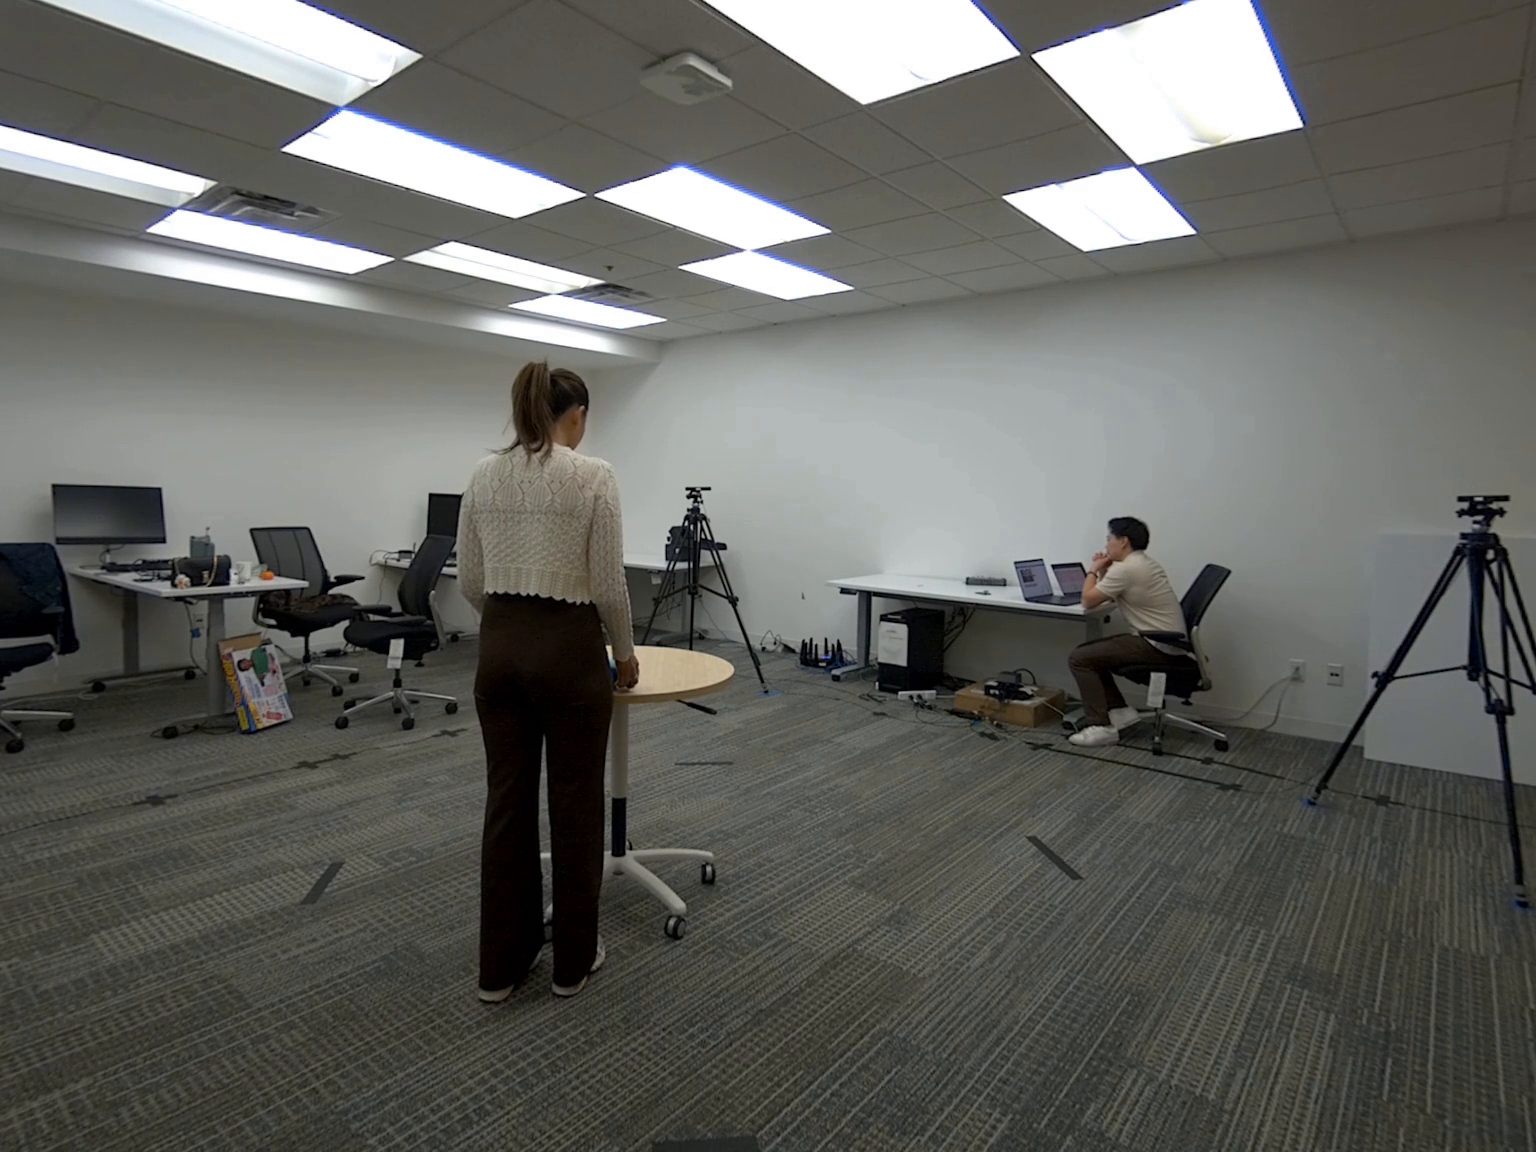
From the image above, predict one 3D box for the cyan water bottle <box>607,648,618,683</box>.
[{"bbox_3d":[-0.544,0.292,2.566,0.286,0.092,0.092,3,4,9],"label":"cyan water bottle"}]
